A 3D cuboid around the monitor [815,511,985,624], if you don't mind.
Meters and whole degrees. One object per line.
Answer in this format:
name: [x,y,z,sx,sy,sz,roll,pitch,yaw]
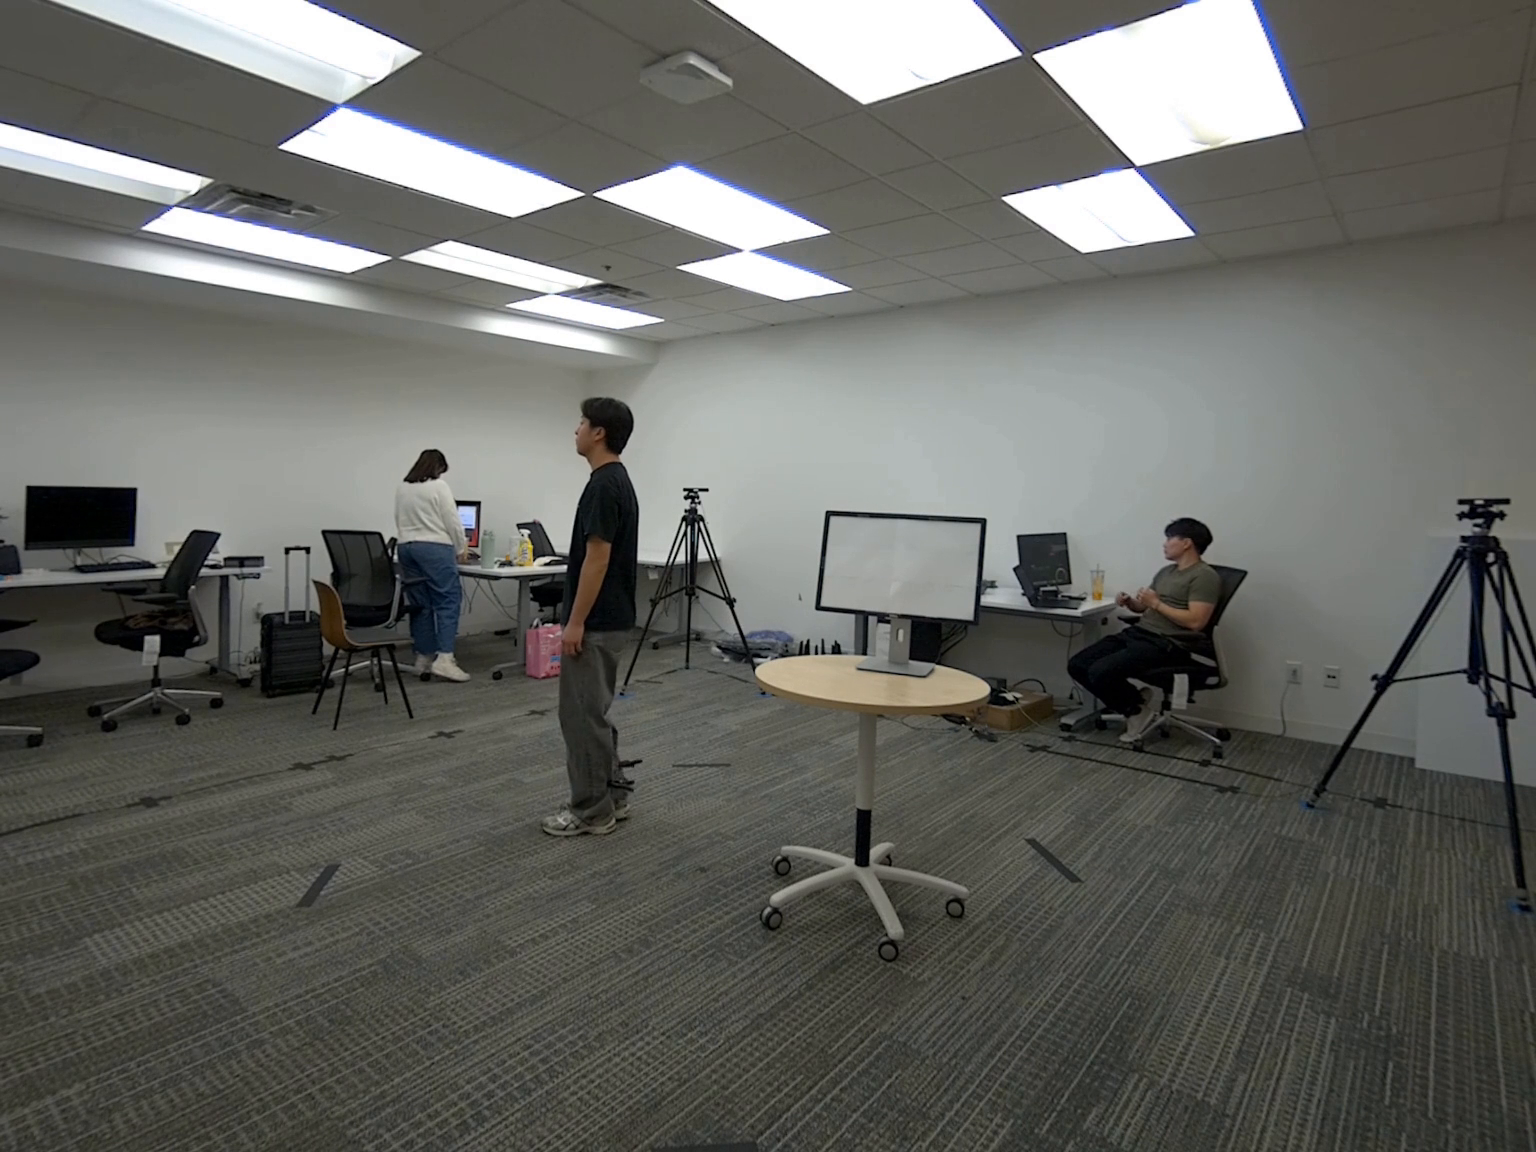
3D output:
monitor: [0.452,0.064,2.969,0.576,0.563,0.217,4,6,25]
